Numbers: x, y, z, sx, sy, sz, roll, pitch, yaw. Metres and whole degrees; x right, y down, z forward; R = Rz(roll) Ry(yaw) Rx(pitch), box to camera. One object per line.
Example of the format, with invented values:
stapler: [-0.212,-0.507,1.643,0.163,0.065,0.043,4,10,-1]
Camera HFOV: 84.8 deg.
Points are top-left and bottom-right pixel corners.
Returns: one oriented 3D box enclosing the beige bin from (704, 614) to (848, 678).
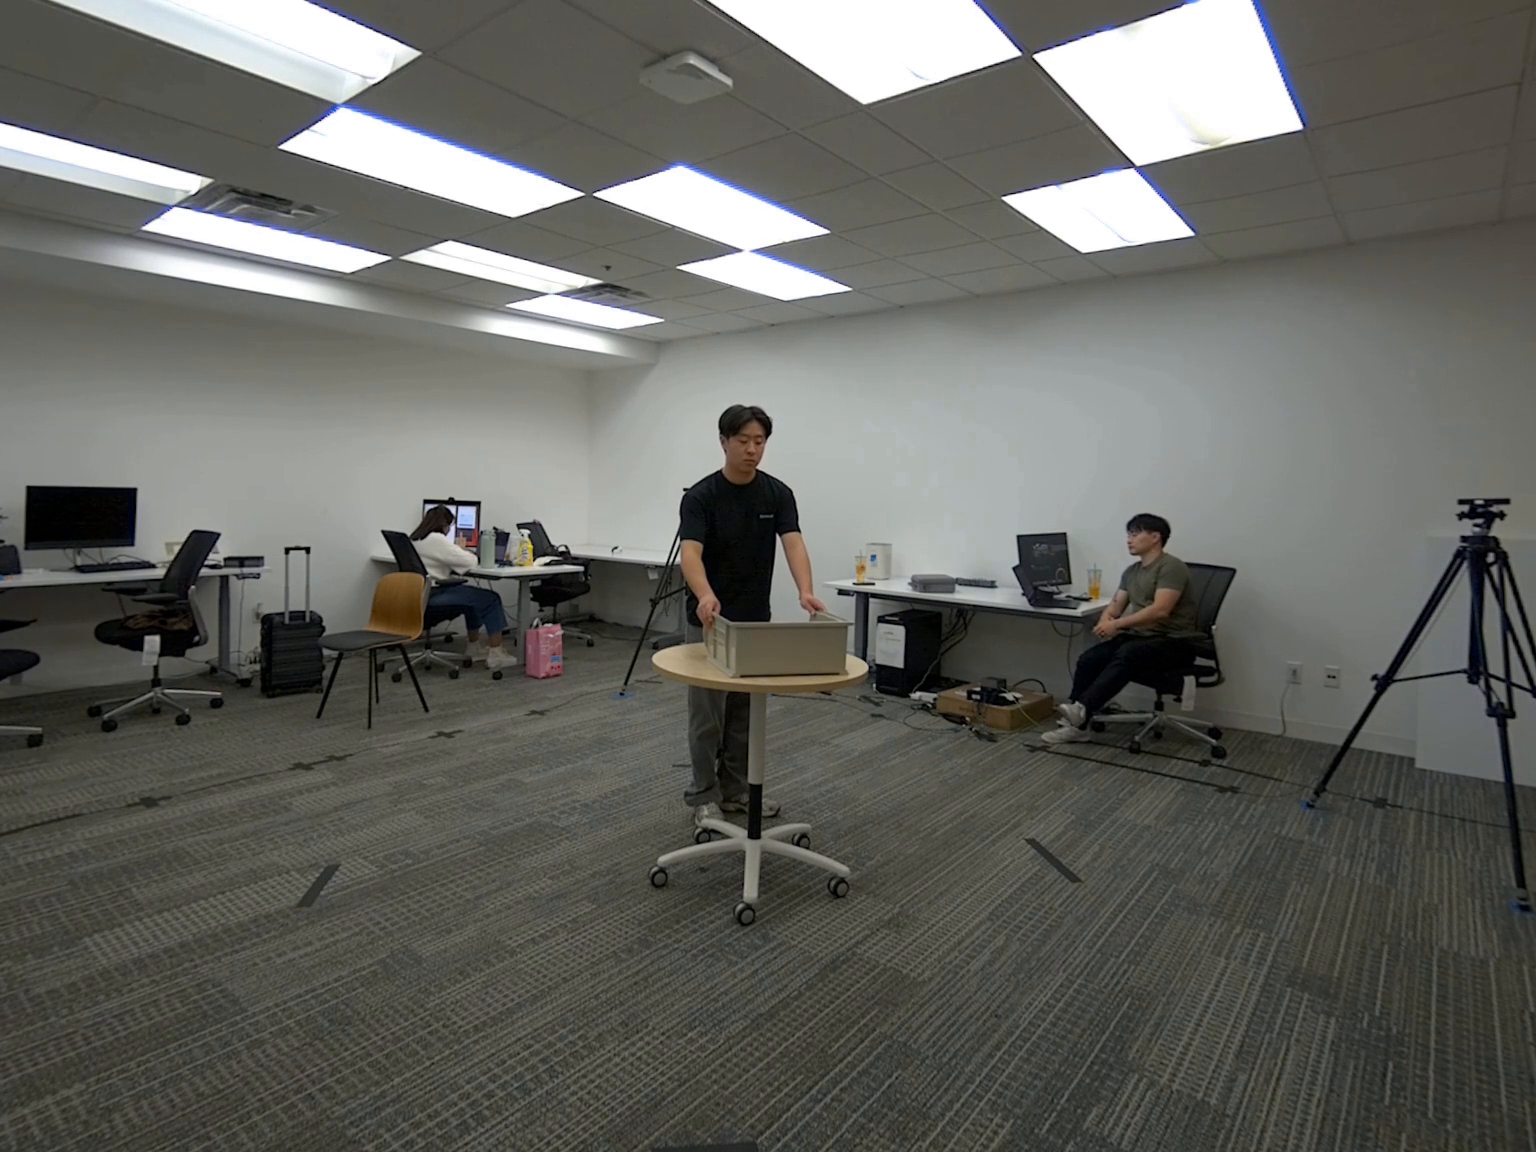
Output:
beige bin: [0.020,0.218,2.942,0.415,0.188,0.386,1,6,-17]
